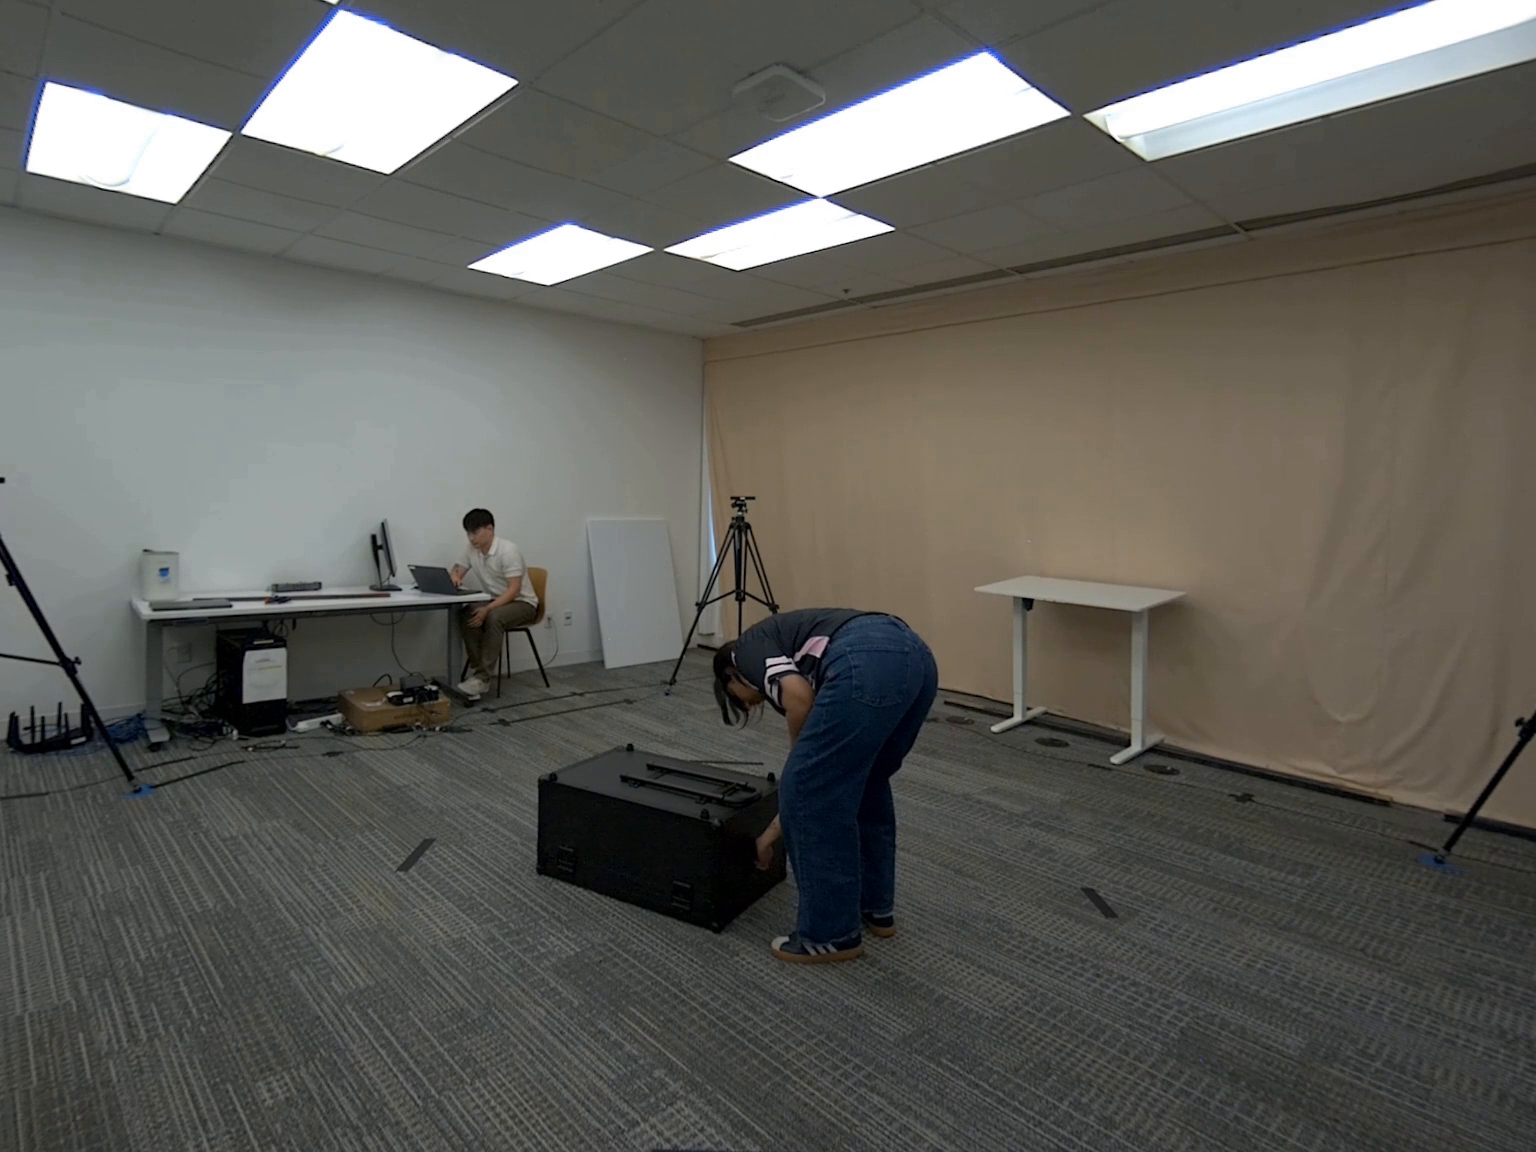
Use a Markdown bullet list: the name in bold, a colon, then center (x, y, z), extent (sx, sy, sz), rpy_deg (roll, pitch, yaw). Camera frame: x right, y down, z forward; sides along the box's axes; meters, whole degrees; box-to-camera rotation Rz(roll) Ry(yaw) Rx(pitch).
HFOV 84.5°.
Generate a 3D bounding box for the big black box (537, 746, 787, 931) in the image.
- **big black box**: center (-0.425, 0.903, 3.092), extent (0.880, 0.395, 0.511), rpy_deg (3, 5, 30)
